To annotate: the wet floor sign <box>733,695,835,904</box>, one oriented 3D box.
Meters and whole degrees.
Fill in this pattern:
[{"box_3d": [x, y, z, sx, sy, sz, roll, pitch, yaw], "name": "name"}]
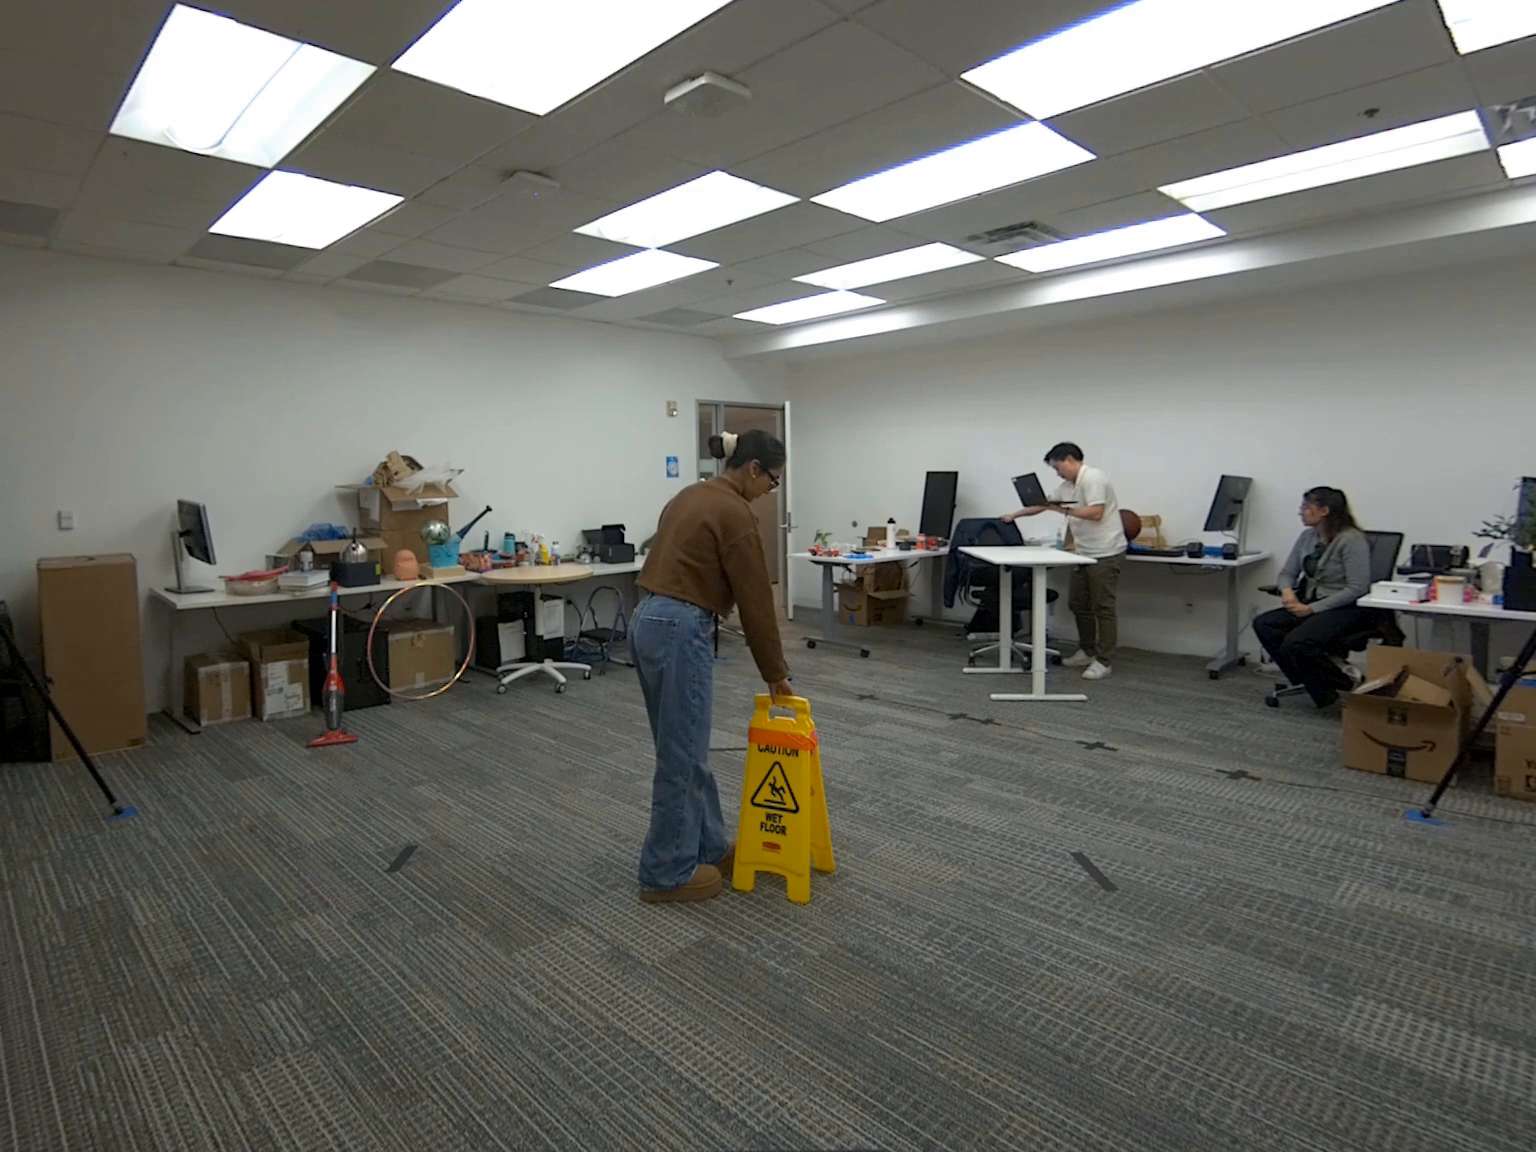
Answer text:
[{"box_3d": [0.051, 0.731, 2.953, 0.289, 0.644, 0.284, 0, 4, 25], "name": "wet floor sign"}]
